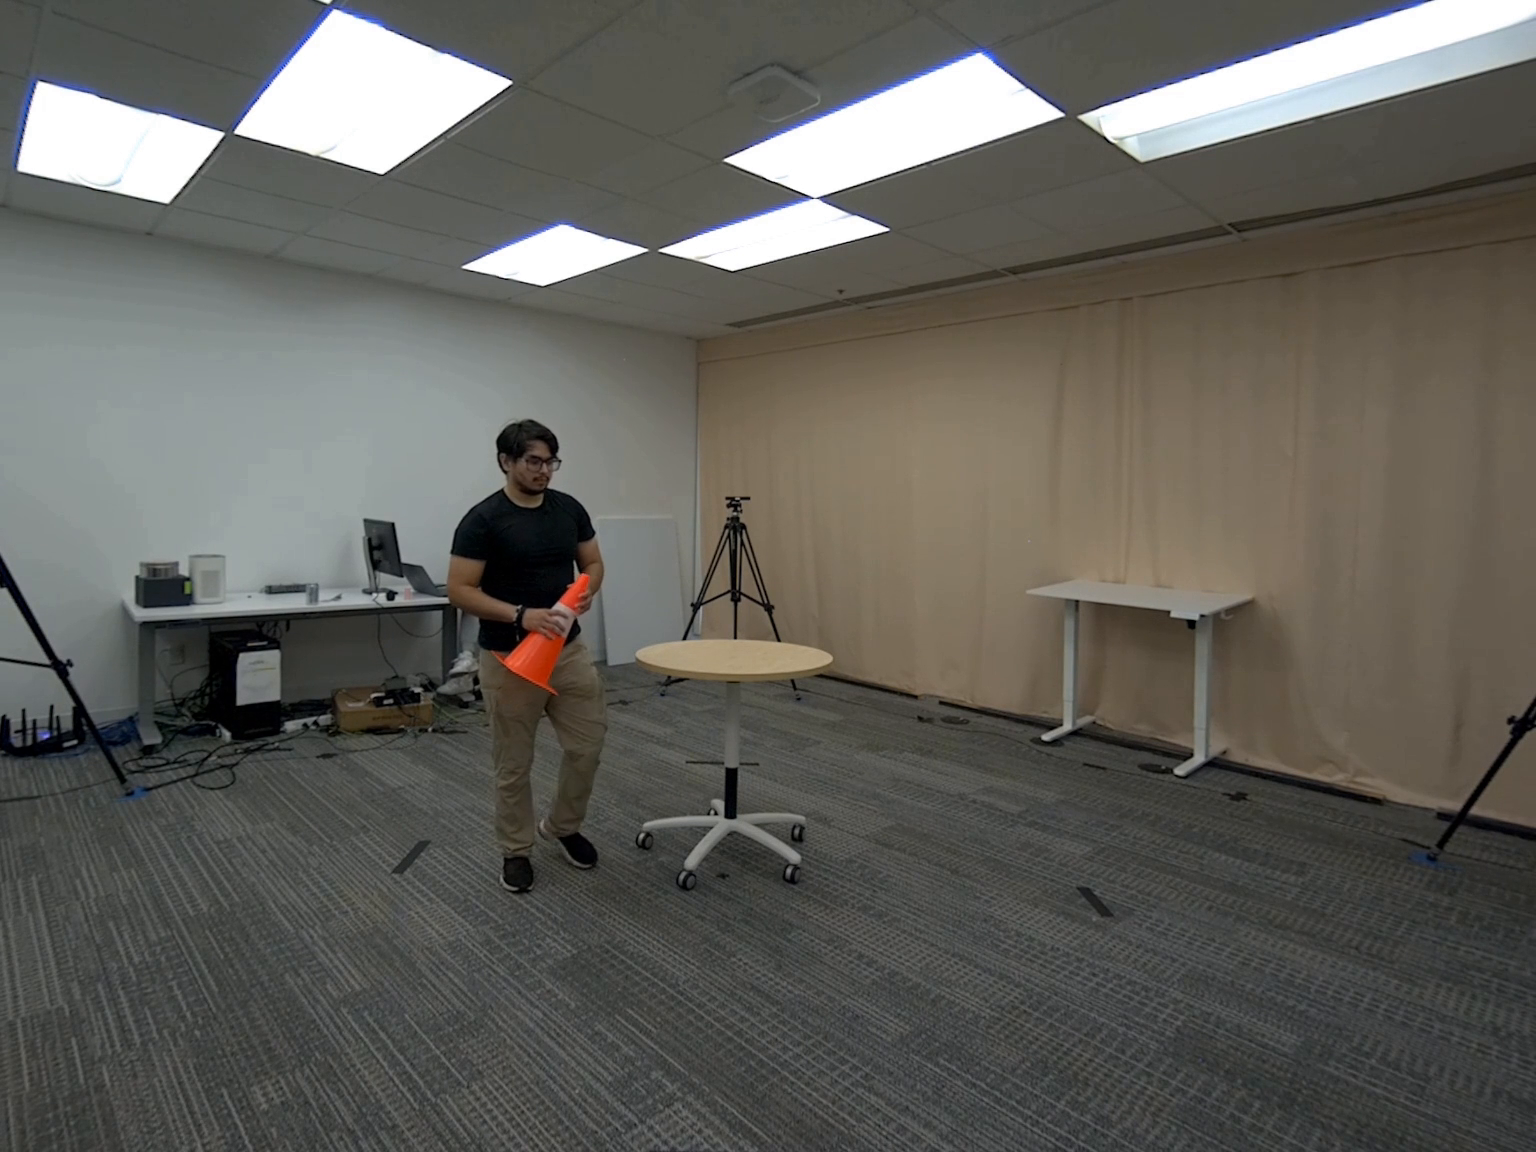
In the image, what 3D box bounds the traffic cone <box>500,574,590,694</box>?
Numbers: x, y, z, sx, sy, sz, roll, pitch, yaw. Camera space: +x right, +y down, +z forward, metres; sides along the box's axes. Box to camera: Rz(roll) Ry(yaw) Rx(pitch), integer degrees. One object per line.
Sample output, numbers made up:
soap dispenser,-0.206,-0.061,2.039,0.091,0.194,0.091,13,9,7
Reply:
traffic cone,-0.722,0.165,2.794,0.197,0.384,0.210,32,-9,-32
